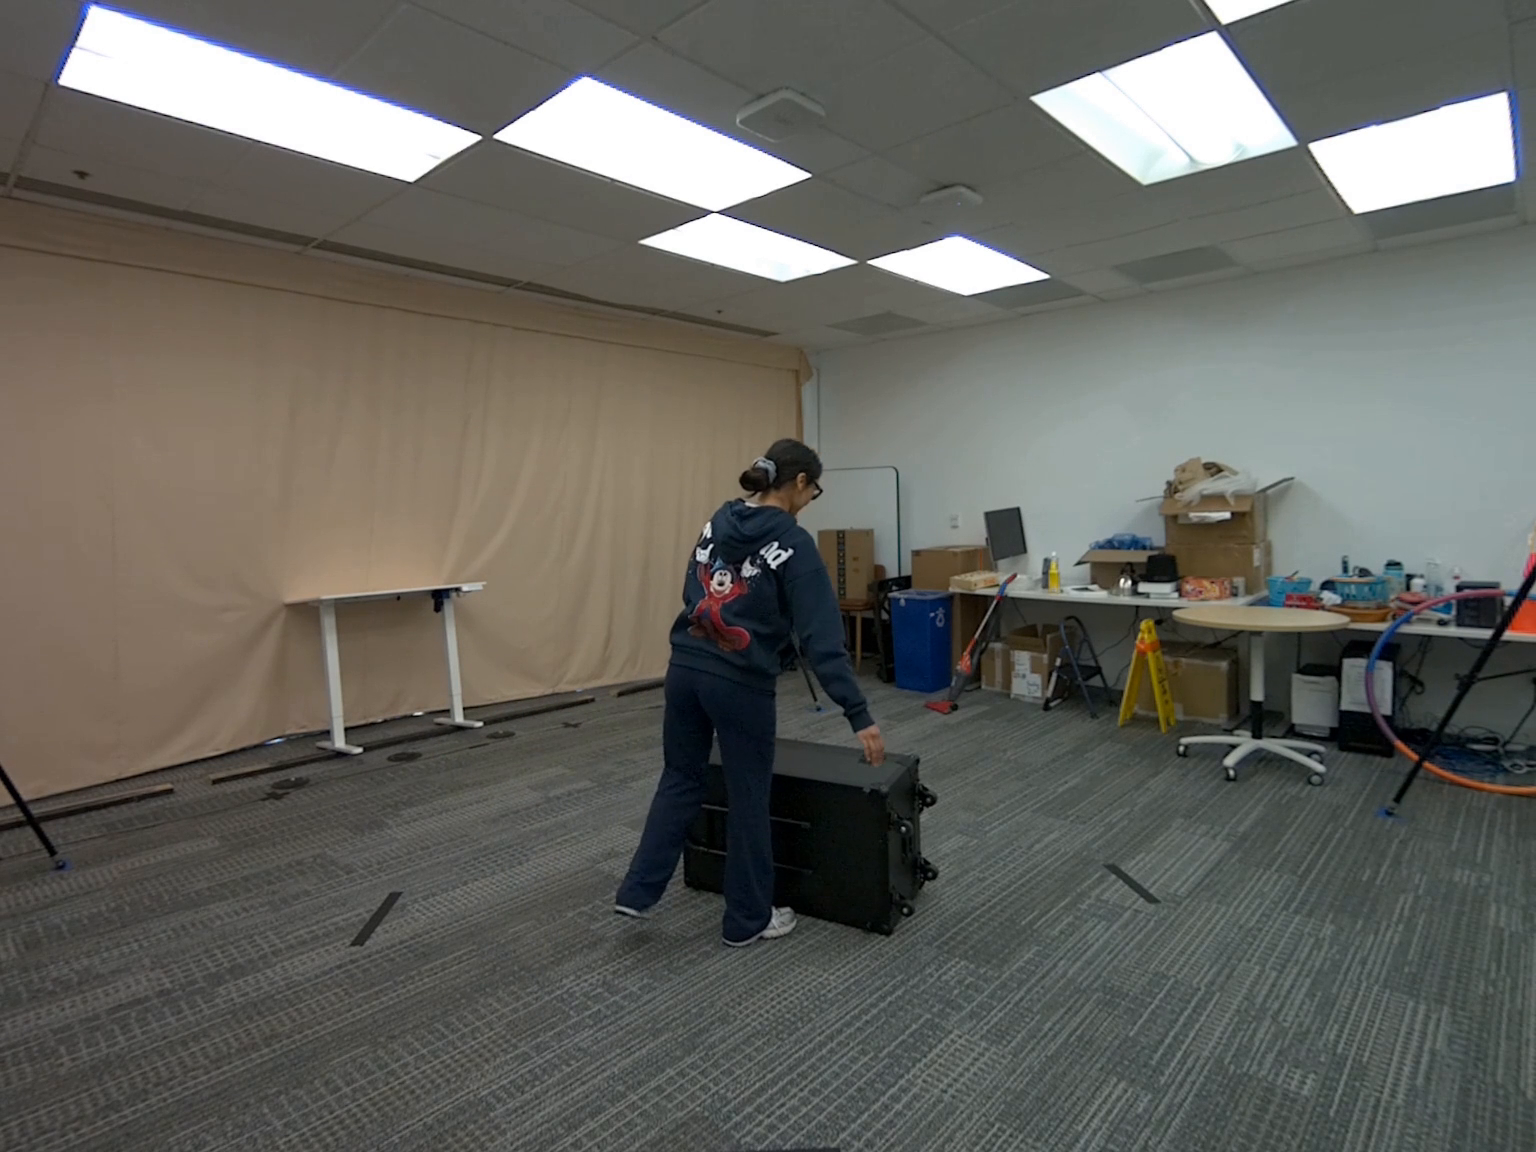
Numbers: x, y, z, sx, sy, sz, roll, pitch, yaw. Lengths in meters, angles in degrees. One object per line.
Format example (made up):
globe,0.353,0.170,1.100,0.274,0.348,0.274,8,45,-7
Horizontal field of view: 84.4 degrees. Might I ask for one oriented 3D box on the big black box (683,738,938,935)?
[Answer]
big black box,0.138,0.882,2.998,0.885,0.519,0.387,1,7,28
